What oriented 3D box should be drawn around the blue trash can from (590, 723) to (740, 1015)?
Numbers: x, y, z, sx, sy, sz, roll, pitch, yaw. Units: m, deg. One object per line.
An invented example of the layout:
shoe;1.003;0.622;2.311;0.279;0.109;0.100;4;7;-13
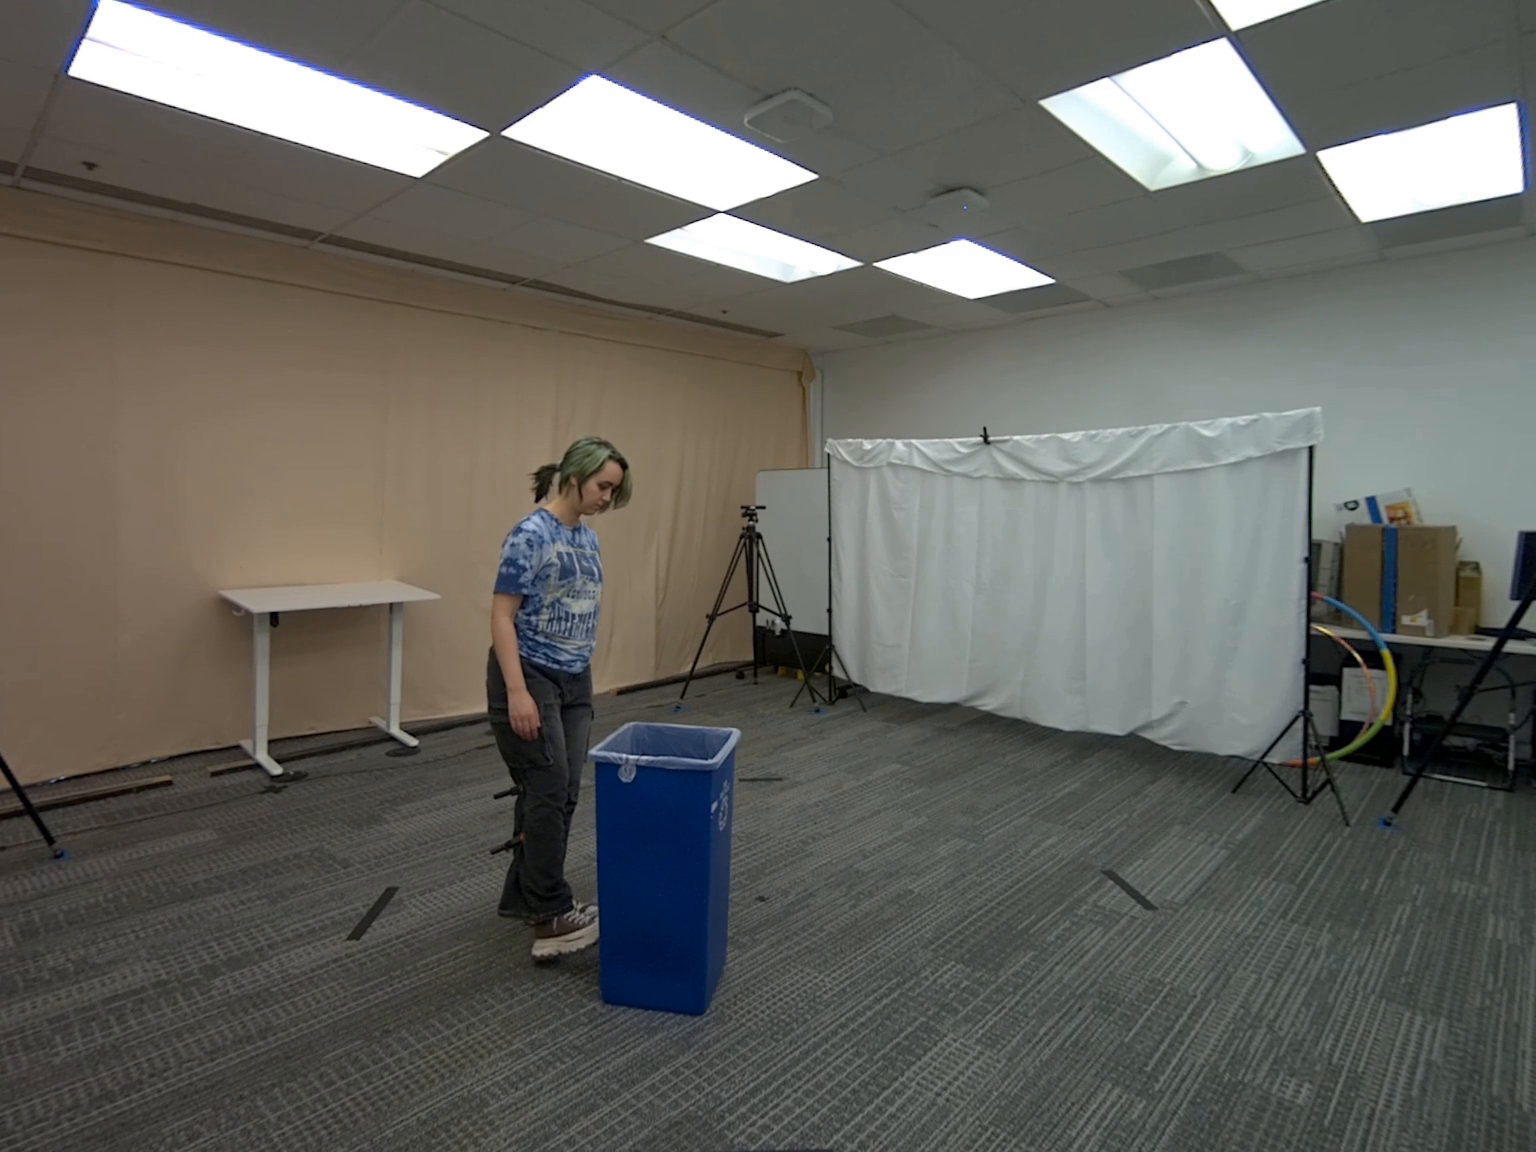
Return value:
blue trash can;-0.290;0.834;2.453;0.383;0.712;0.370;2;3;11
